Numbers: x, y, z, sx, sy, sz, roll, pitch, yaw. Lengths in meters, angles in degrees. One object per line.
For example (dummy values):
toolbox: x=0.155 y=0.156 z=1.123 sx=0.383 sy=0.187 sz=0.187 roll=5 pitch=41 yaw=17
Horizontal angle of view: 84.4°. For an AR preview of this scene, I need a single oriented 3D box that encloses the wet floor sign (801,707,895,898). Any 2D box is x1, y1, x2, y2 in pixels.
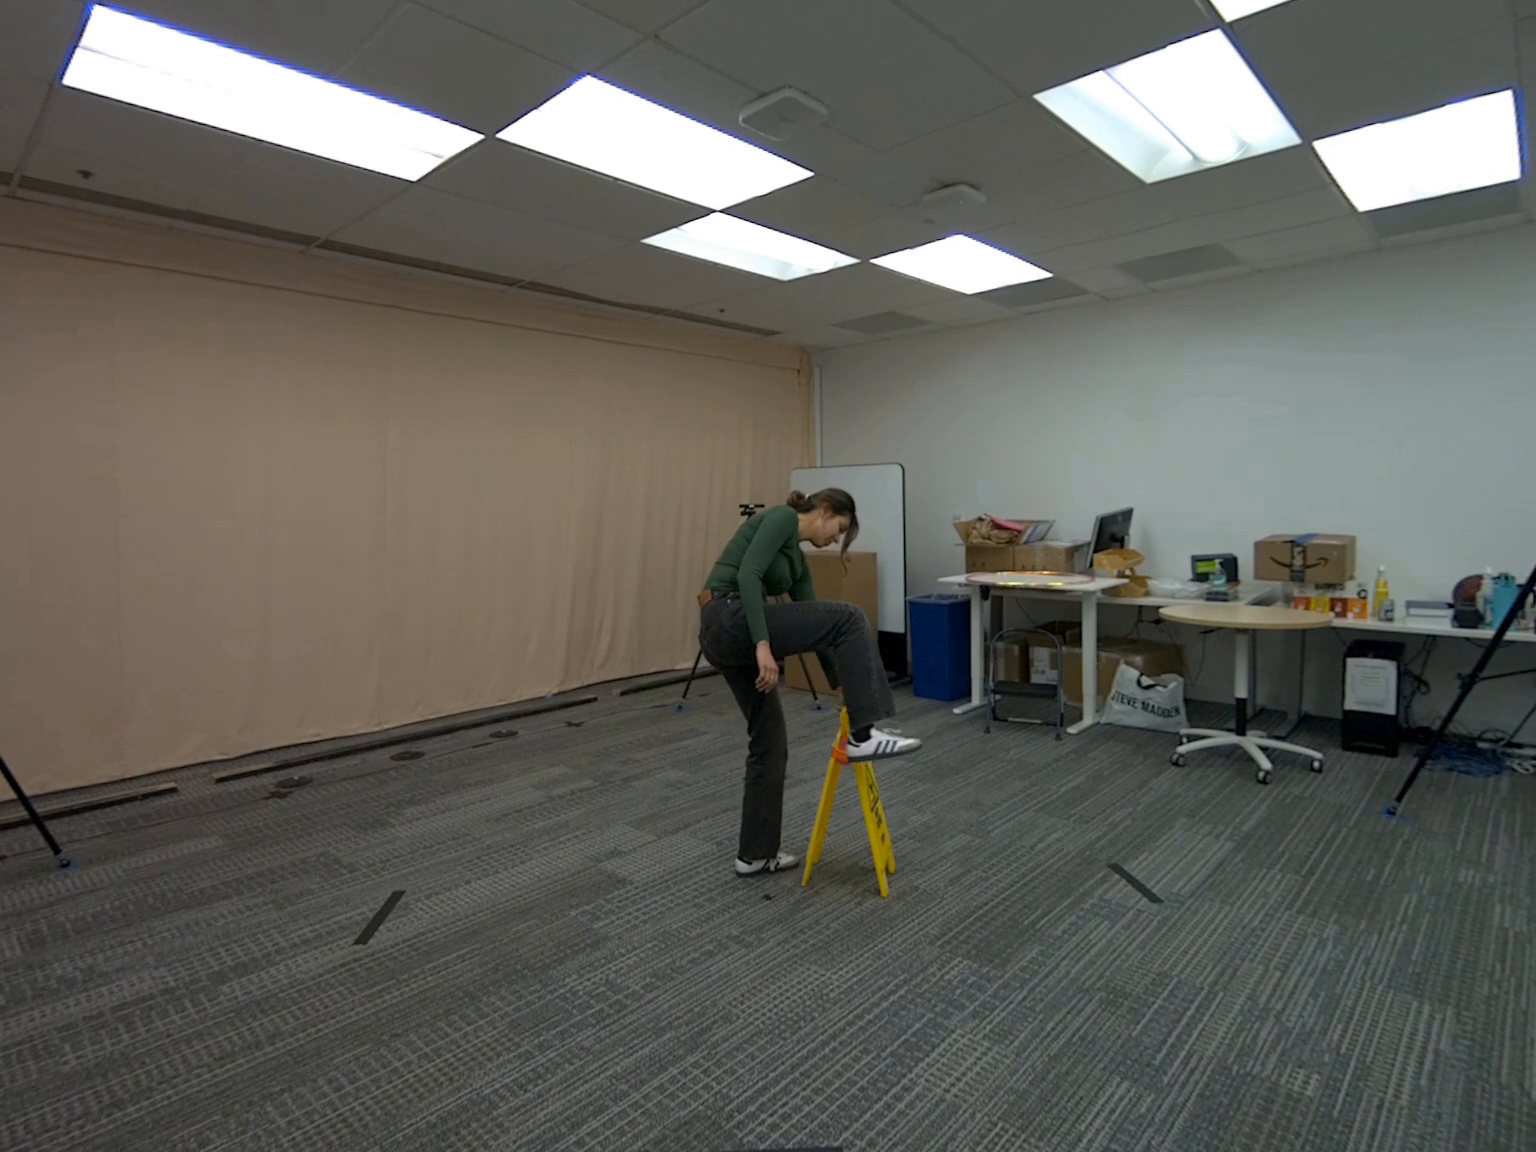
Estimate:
wet floor sign: x=0.301 y=0.799 z=3.120 sx=0.295 sy=0.645 sz=0.277 roll=0 pitch=3 yaw=18
